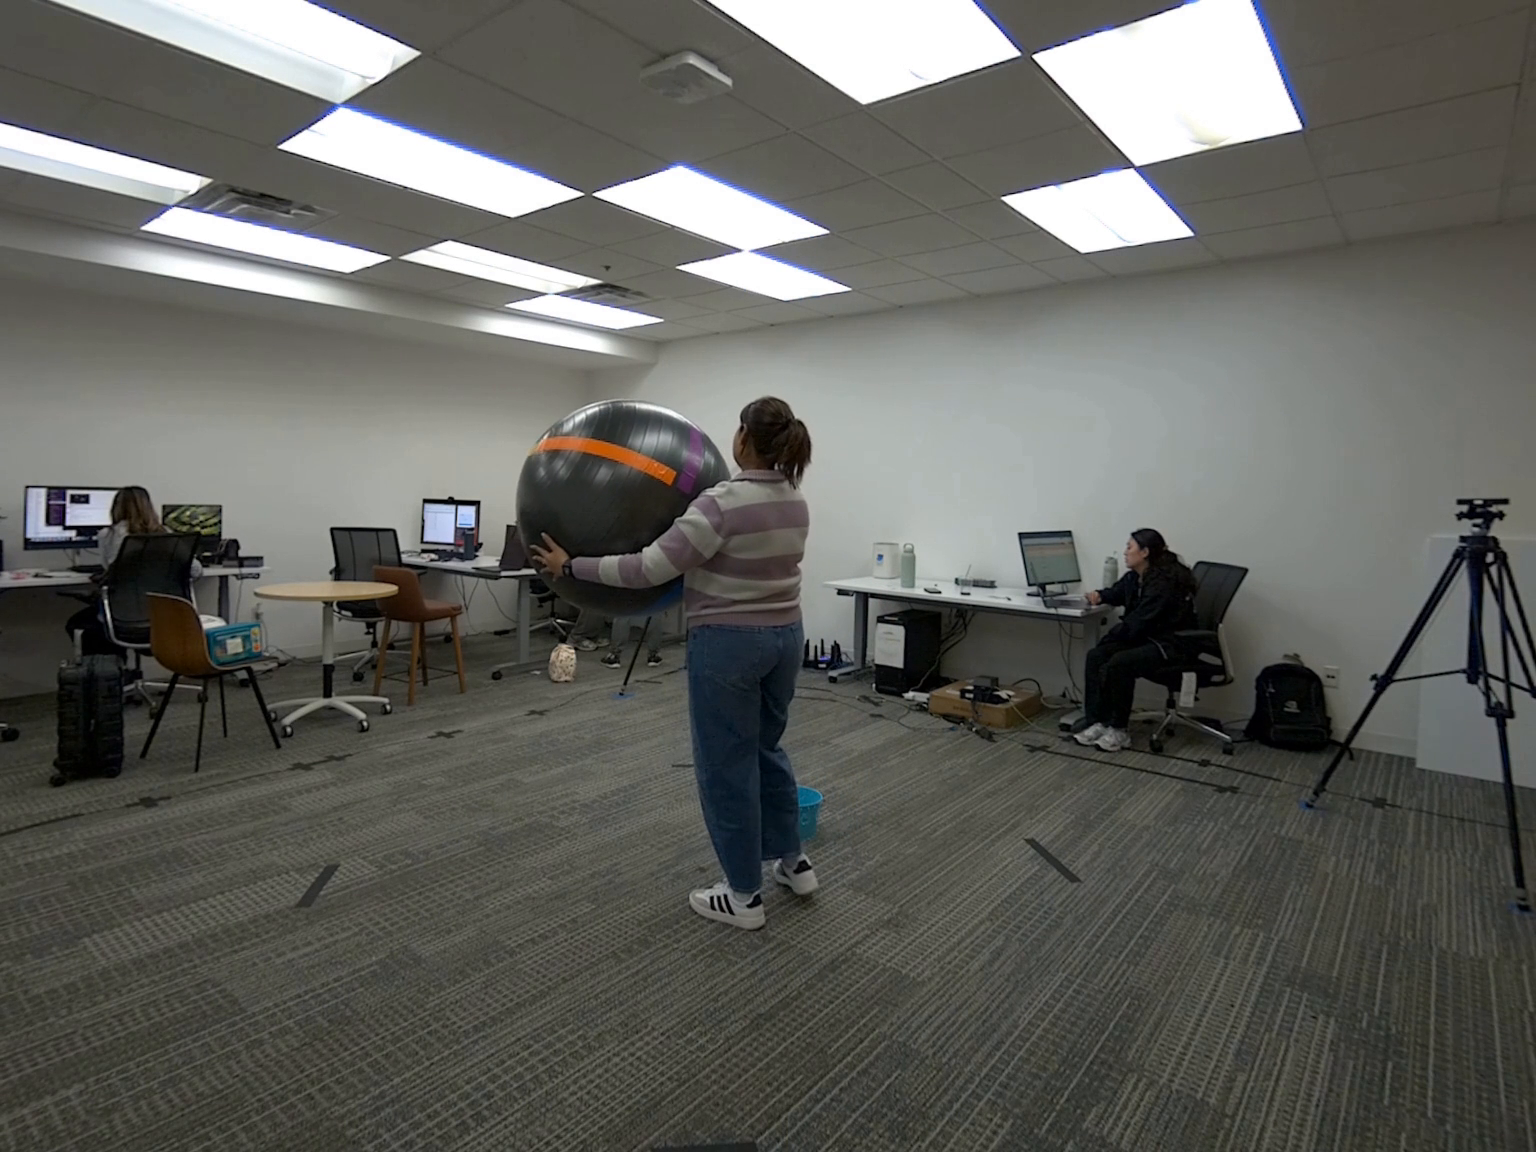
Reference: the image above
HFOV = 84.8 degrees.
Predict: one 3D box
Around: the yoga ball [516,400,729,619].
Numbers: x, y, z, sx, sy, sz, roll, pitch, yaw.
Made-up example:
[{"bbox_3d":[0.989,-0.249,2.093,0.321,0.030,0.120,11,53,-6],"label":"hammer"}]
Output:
[{"bbox_3d":[-0.504,-0.229,2.959,0.757,0.756,0.761,1,4,-2],"label":"yoga ball"}]
